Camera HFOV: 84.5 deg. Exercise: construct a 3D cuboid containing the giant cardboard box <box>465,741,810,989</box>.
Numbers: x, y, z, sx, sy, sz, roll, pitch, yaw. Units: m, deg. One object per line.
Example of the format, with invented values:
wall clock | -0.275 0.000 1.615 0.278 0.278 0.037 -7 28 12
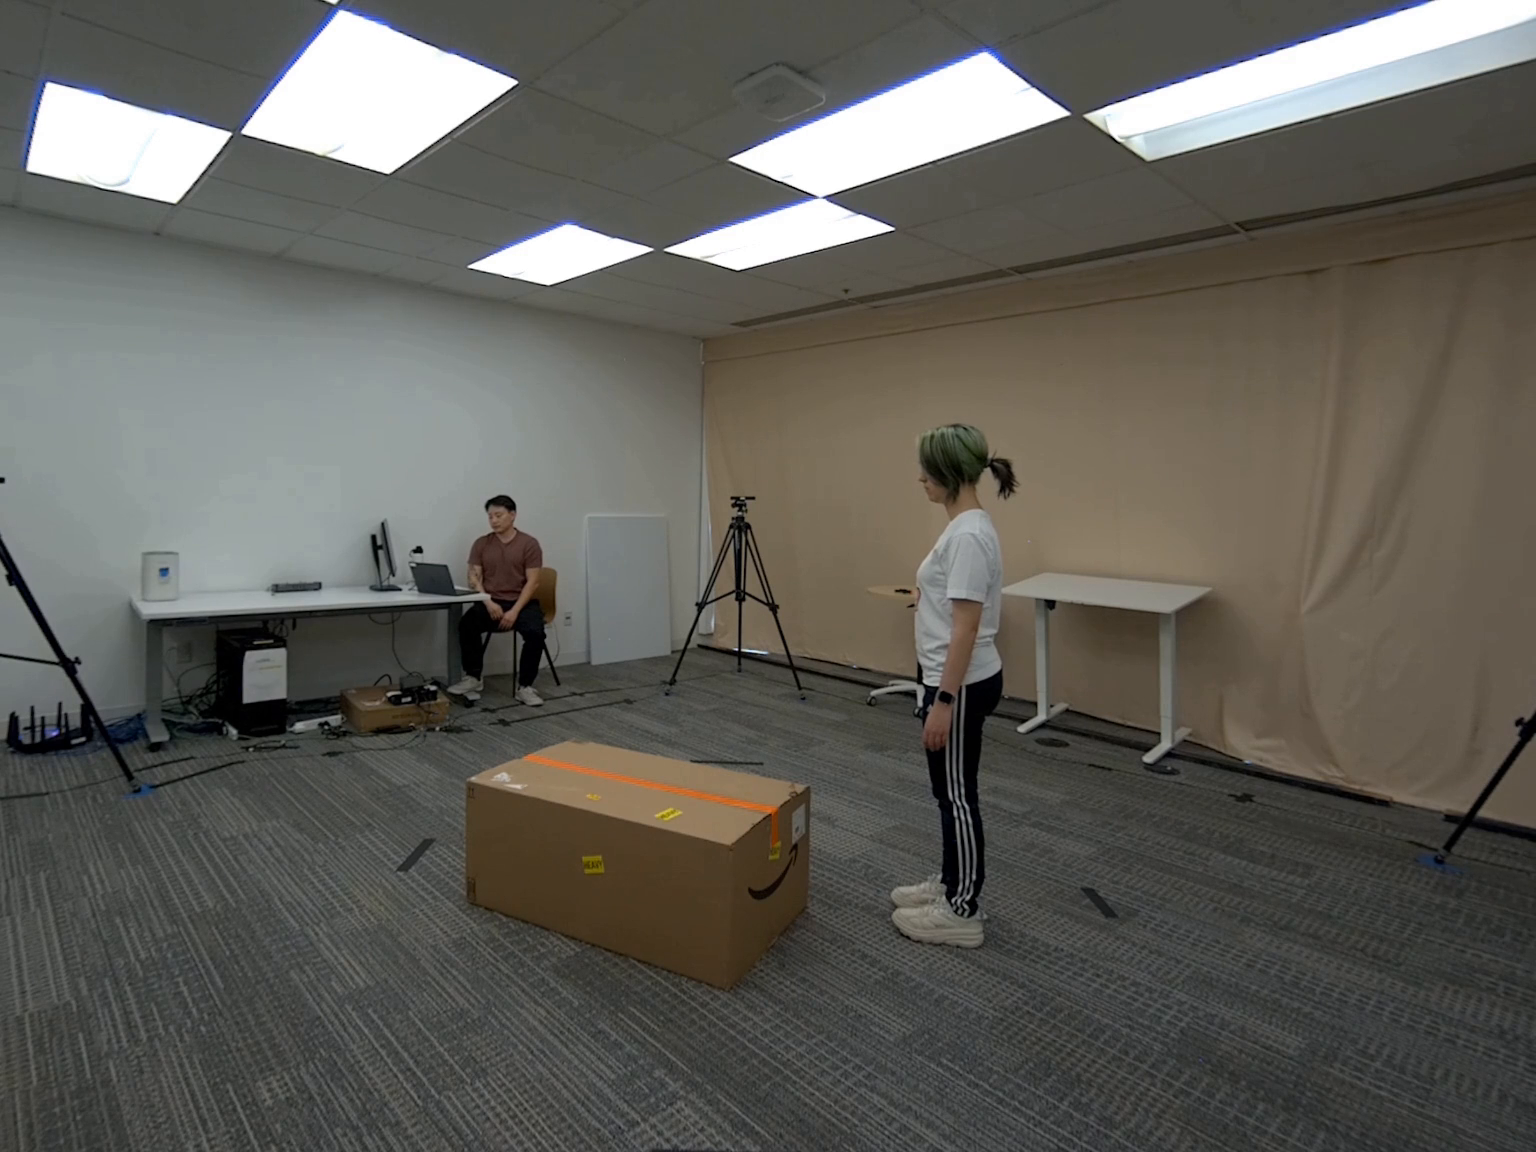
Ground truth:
giant cardboard box | -0.442 0.904 2.850 1.047 0.425 0.567 4 6 27
